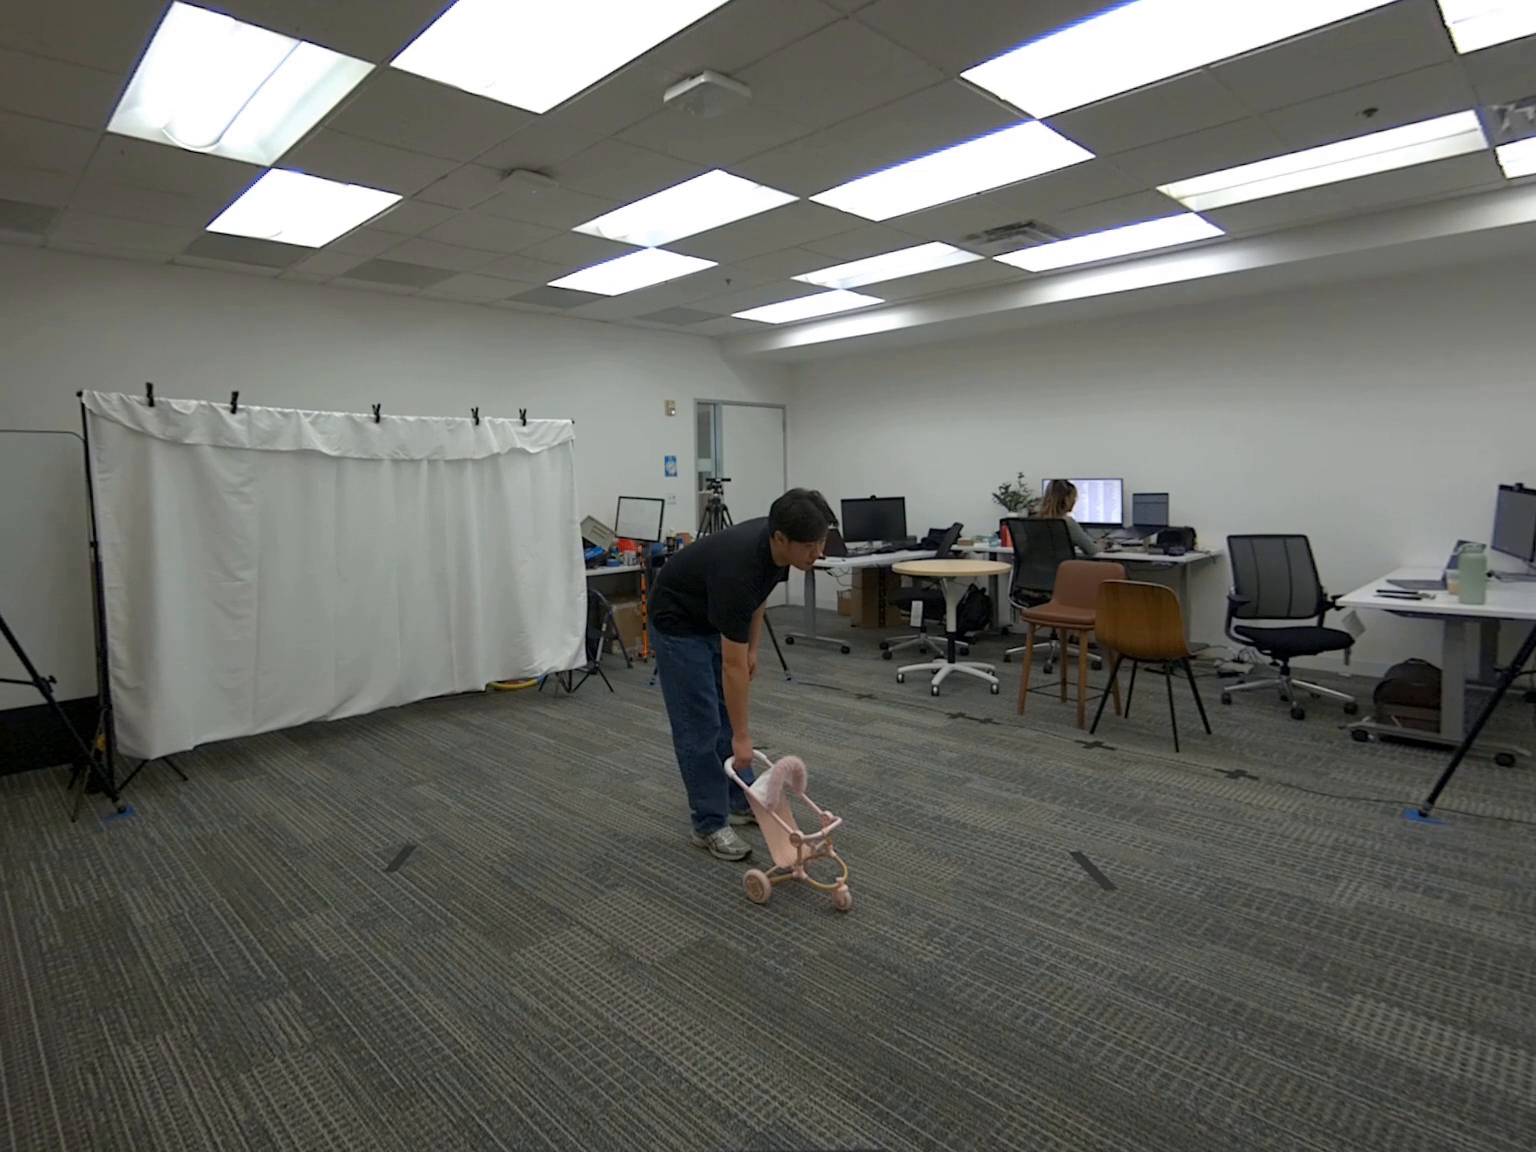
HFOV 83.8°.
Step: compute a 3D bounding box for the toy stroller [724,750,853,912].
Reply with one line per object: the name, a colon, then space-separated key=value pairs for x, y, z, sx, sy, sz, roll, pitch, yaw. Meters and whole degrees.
toy stroller: x=0.084 y=0.842 z=2.859 sx=0.348 sy=0.539 sz=0.274 roll=-18 pitch=-8 yaw=41
